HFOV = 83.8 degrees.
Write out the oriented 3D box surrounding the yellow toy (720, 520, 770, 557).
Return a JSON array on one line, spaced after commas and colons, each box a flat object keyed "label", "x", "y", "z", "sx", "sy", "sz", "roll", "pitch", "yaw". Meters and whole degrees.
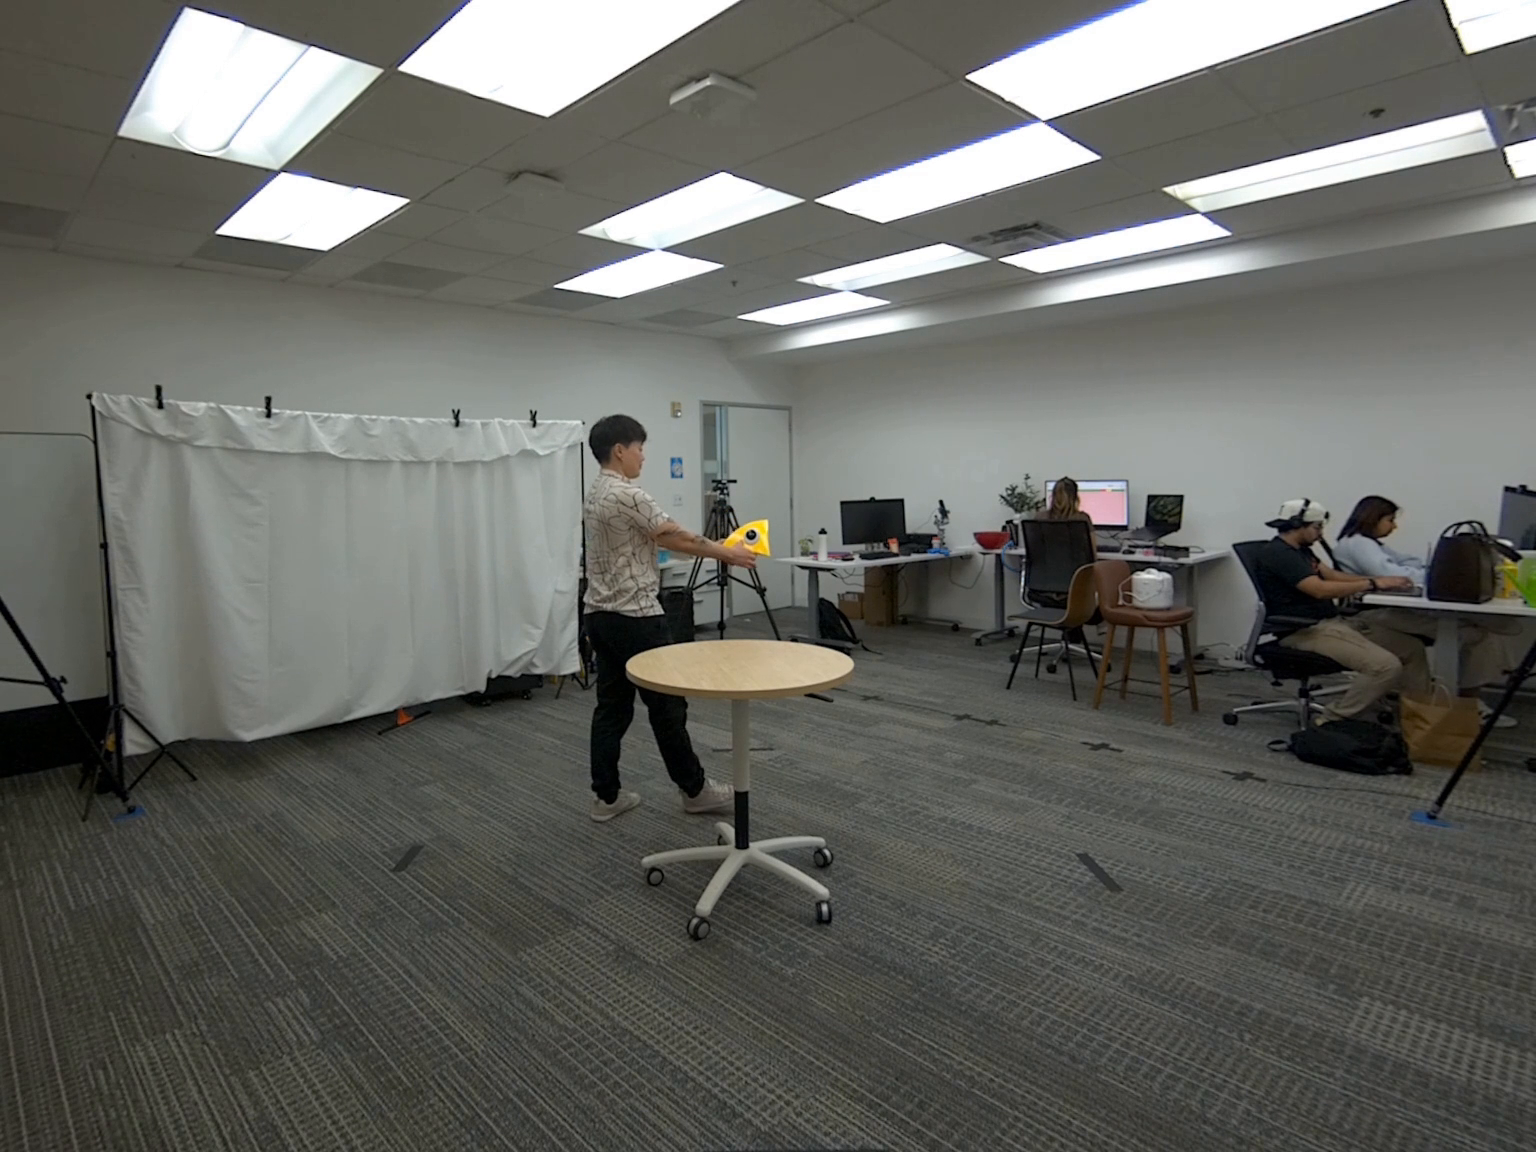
[{"label": "yellow toy", "x": -0.092, "y": -0.167, "z": 3.760, "sx": 0.188, "sy": 0.231, "sz": 0.210, "roll": 24, "pitch": -5, "yaw": -23}]
